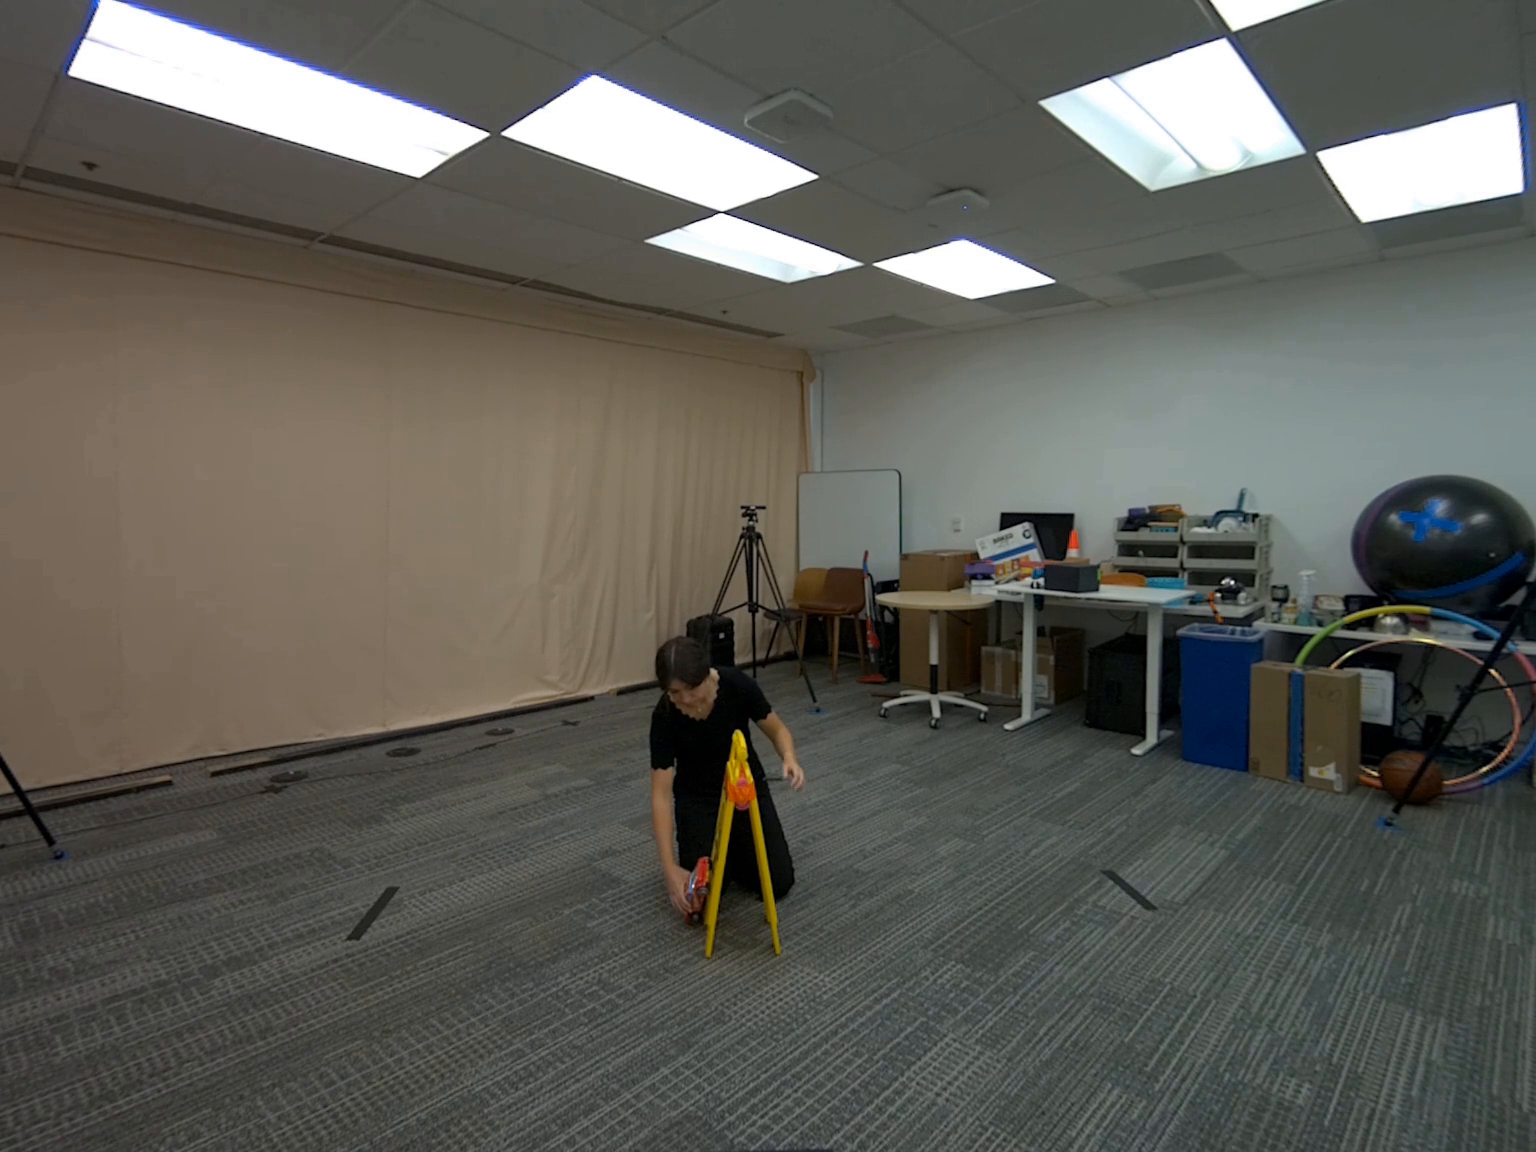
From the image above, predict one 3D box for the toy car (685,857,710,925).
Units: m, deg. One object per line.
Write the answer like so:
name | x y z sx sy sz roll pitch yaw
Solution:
toy car | -0.229 1.034 2.775 0.082 0.253 0.132 19 35 -10
